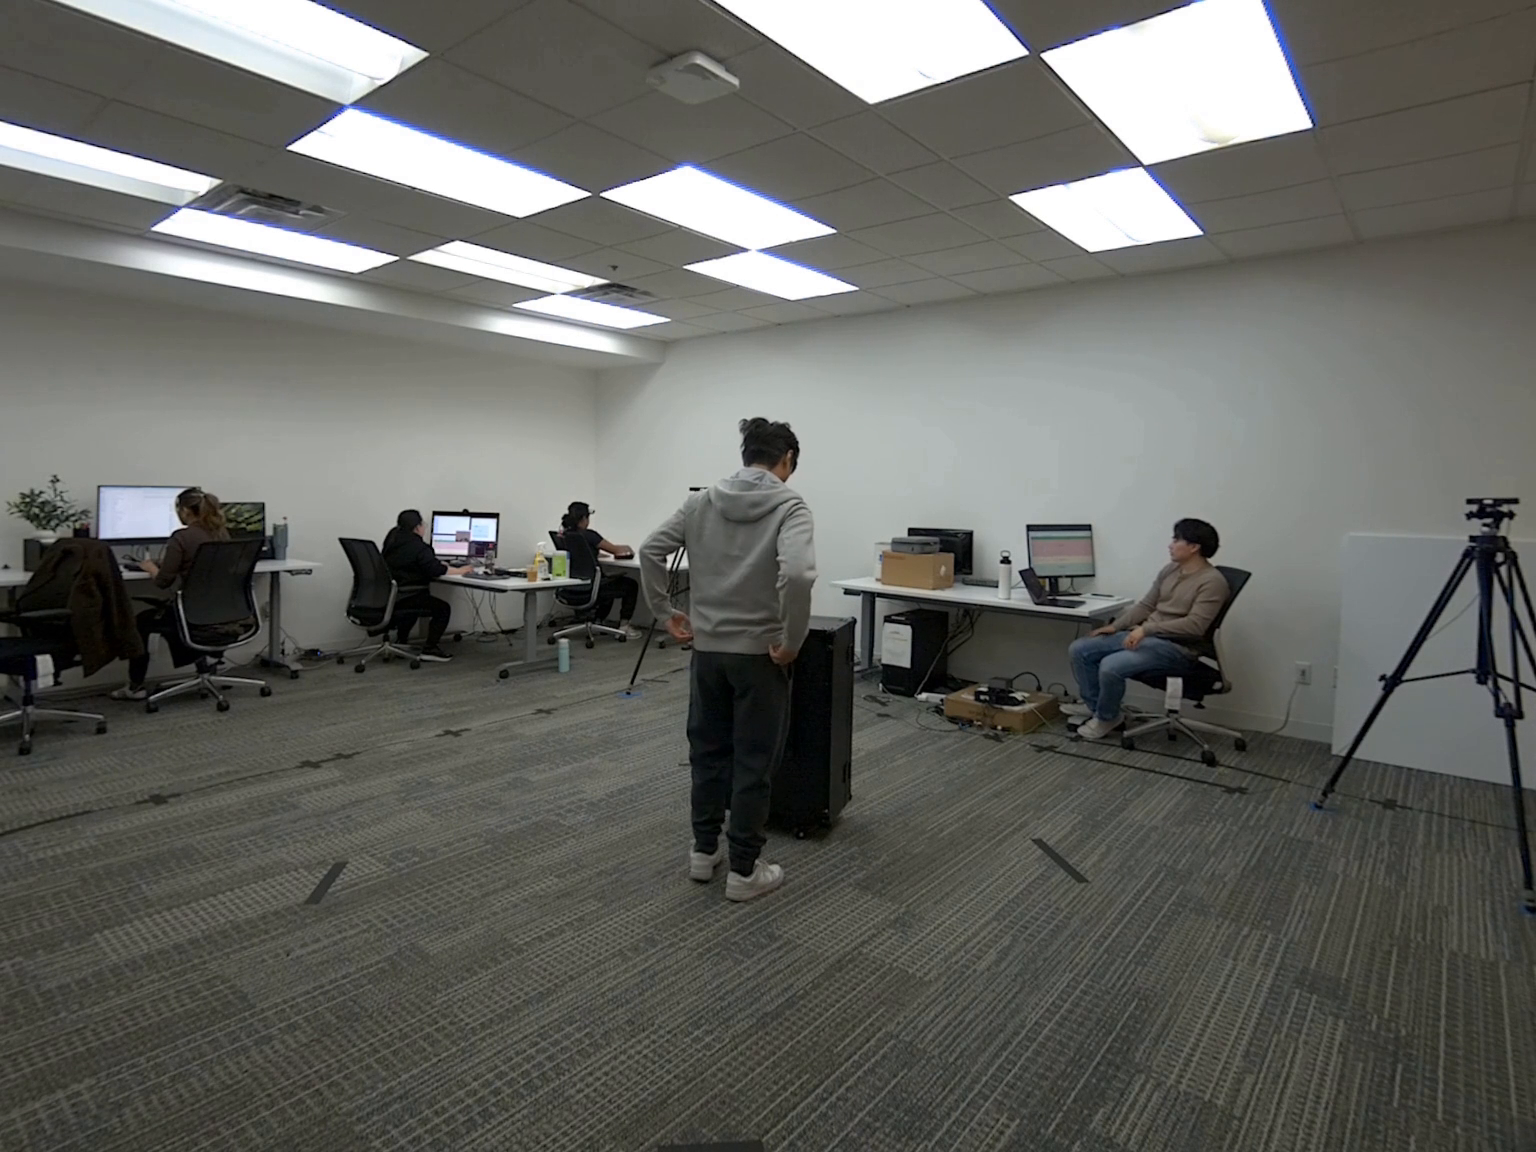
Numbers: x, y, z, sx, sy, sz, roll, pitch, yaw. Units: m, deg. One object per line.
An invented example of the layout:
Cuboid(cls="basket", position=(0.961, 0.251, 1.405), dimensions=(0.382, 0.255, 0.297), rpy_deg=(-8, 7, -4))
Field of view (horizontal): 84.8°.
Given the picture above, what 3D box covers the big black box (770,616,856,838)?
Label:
Cuboid(cls="big black box", position=(0.077, 0.604, 3.555), dimensions=(0.533, 0.858, 0.389), rpy_deg=(2, 4, 22))
